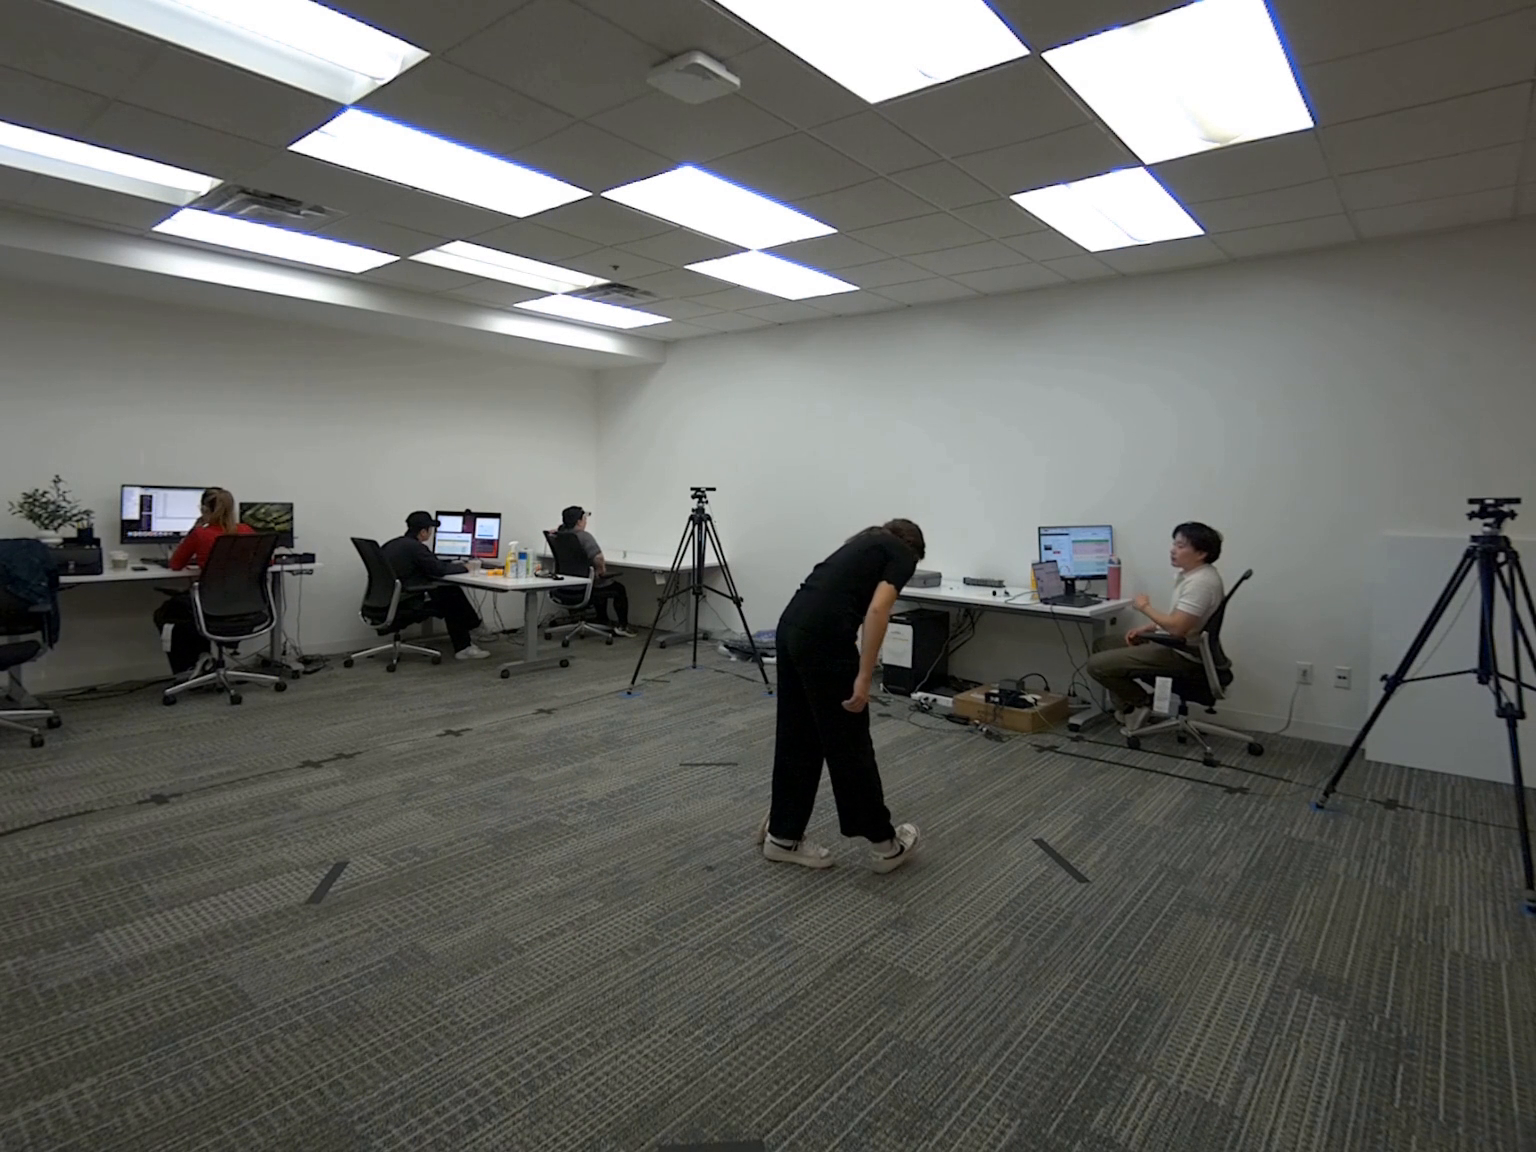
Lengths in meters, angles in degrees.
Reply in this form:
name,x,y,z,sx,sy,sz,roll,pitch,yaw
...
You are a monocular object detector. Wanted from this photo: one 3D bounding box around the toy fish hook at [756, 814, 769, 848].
name,x,y,z,sx,sy,sz,roll,pitch,yaw
toy fish hook,0.072,0.813,3.319,0.049,0.503,0.221,25,12,13
